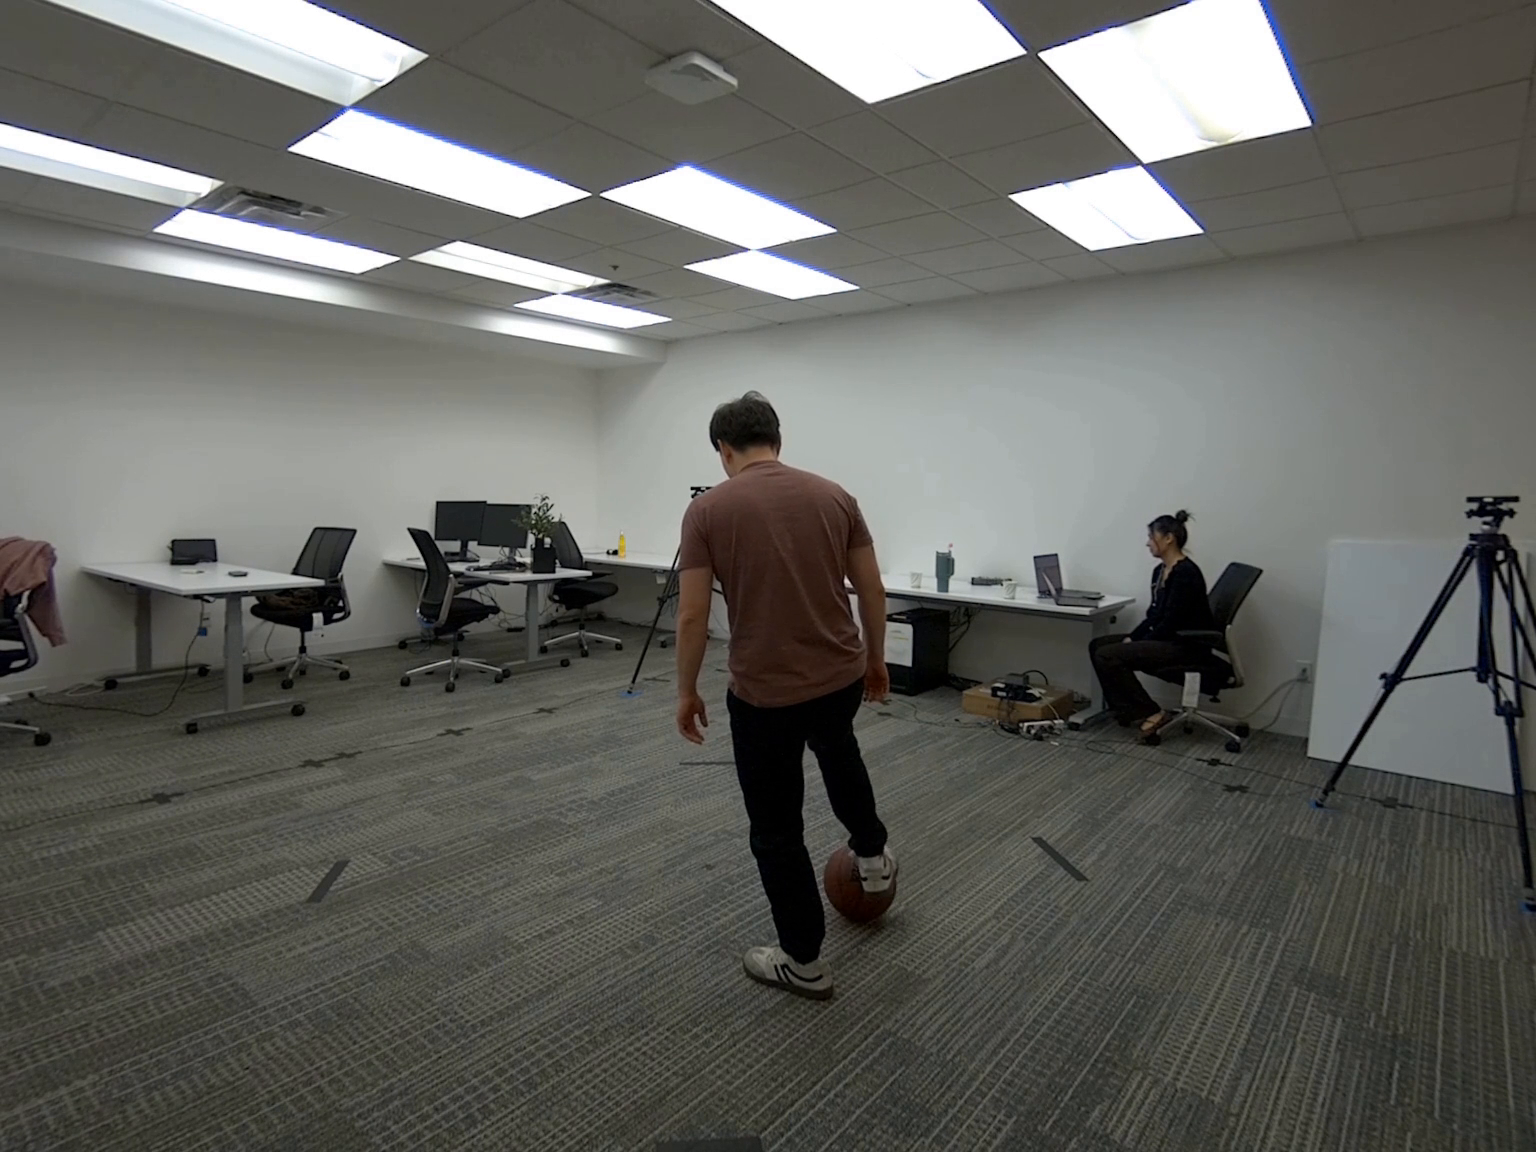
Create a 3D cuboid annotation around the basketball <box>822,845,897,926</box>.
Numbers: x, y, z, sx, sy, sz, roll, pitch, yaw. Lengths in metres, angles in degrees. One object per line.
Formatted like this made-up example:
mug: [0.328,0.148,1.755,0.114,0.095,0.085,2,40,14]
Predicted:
basketball: [0.291,0.989,2.782,0.235,0.235,0.237,1,4,-2]
